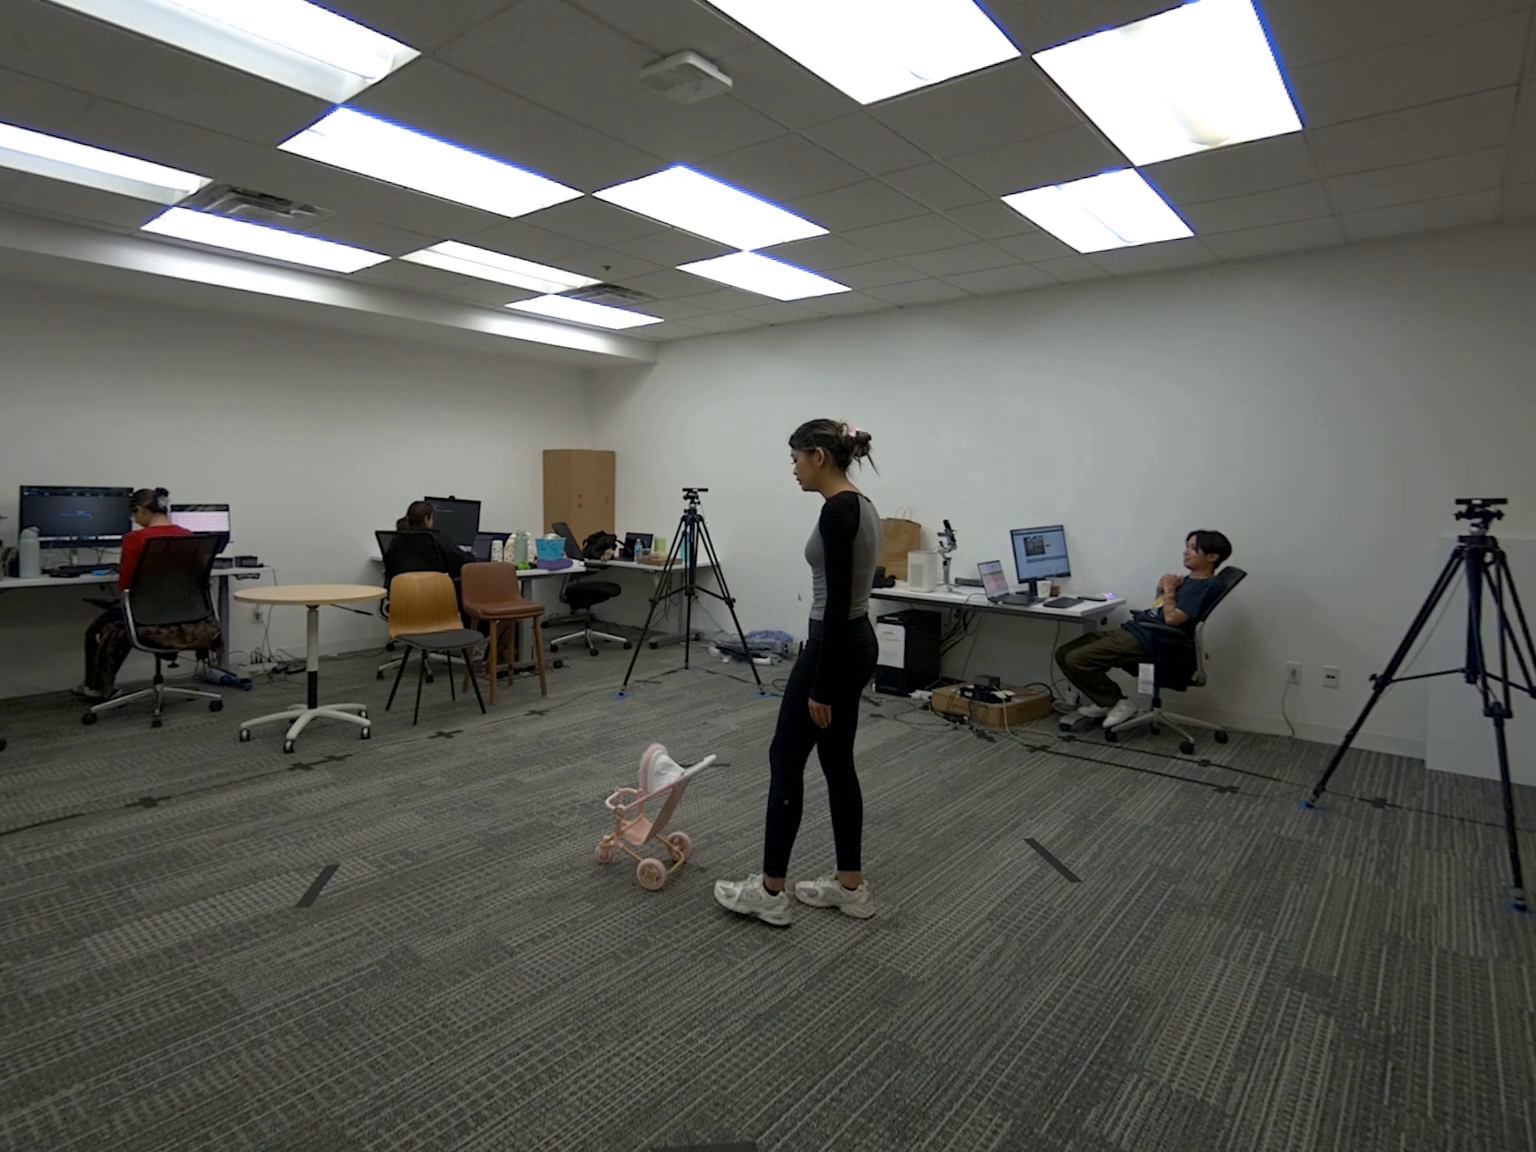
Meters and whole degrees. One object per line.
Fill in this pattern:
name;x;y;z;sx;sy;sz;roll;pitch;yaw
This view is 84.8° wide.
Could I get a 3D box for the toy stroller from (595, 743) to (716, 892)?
toy stroller;-0.433;0.843;3.074;0.351;0.532;0.275;19;9;21
